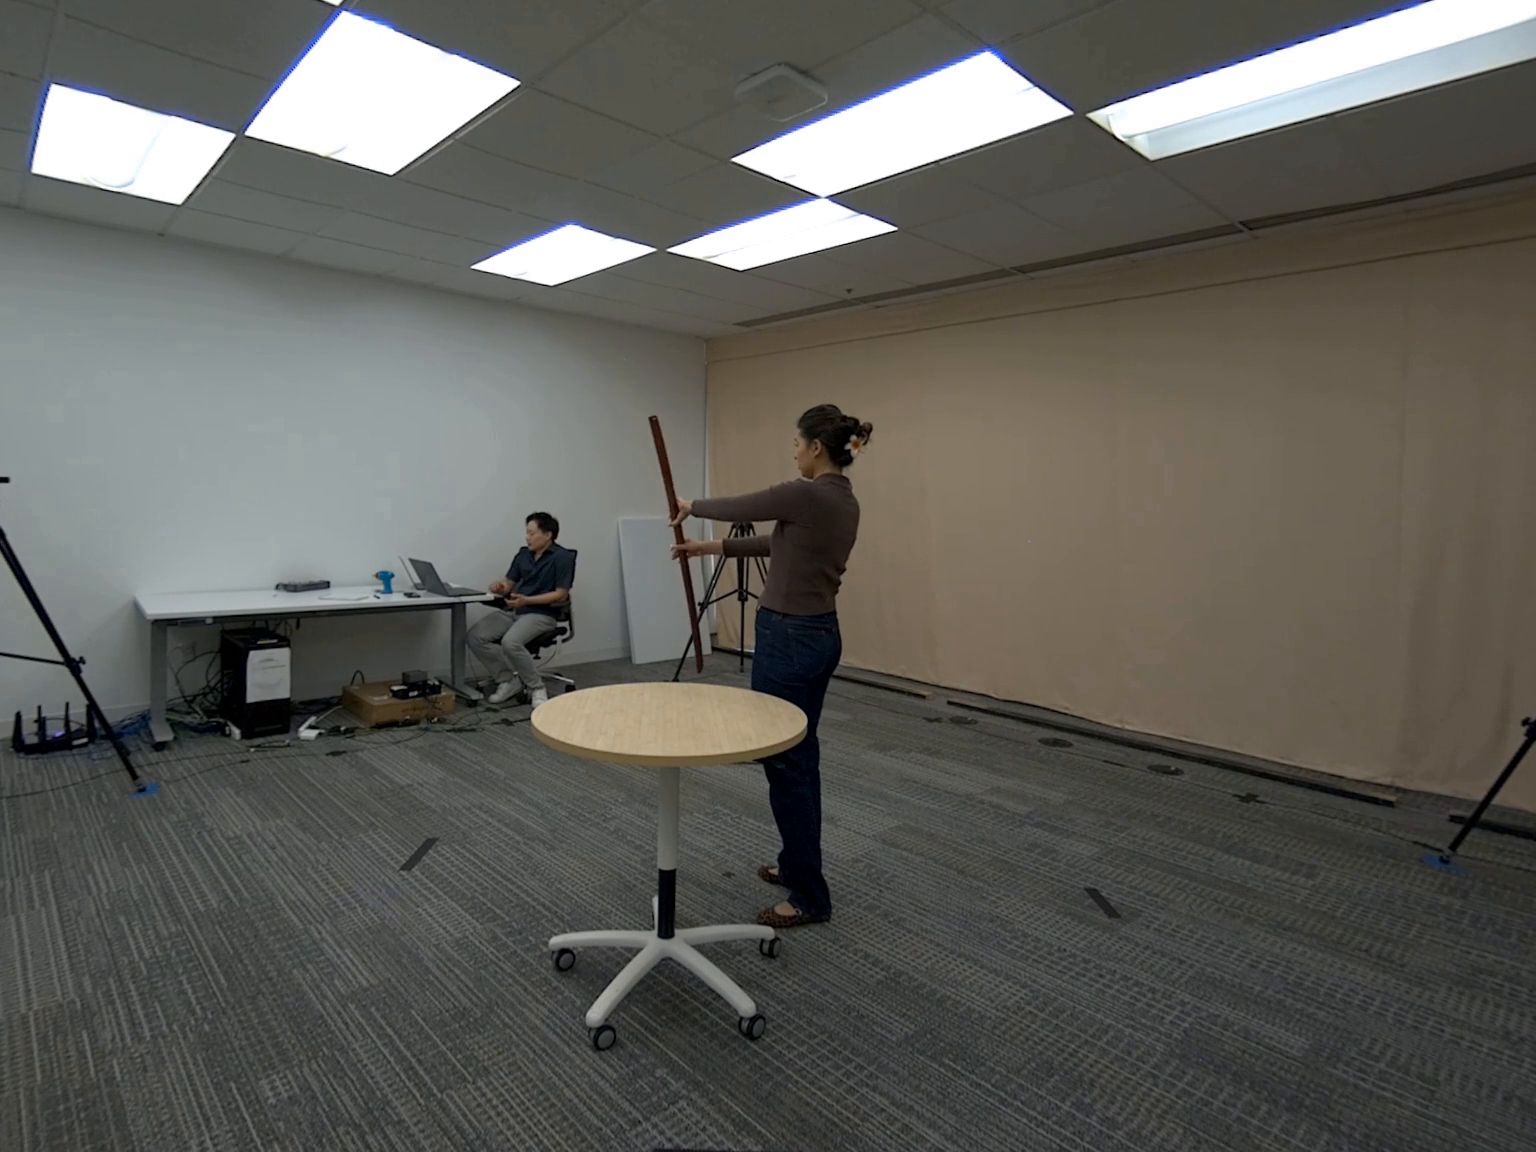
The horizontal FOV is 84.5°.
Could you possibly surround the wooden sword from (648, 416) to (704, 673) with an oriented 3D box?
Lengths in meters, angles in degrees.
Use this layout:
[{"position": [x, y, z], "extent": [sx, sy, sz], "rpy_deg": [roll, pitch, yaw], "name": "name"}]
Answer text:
[{"position": [-0.336, -0.102, 3.165], "extent": [0.024, 1.010, 0.052], "rpy_deg": [-10, 17, -1], "name": "wooden sword"}]
